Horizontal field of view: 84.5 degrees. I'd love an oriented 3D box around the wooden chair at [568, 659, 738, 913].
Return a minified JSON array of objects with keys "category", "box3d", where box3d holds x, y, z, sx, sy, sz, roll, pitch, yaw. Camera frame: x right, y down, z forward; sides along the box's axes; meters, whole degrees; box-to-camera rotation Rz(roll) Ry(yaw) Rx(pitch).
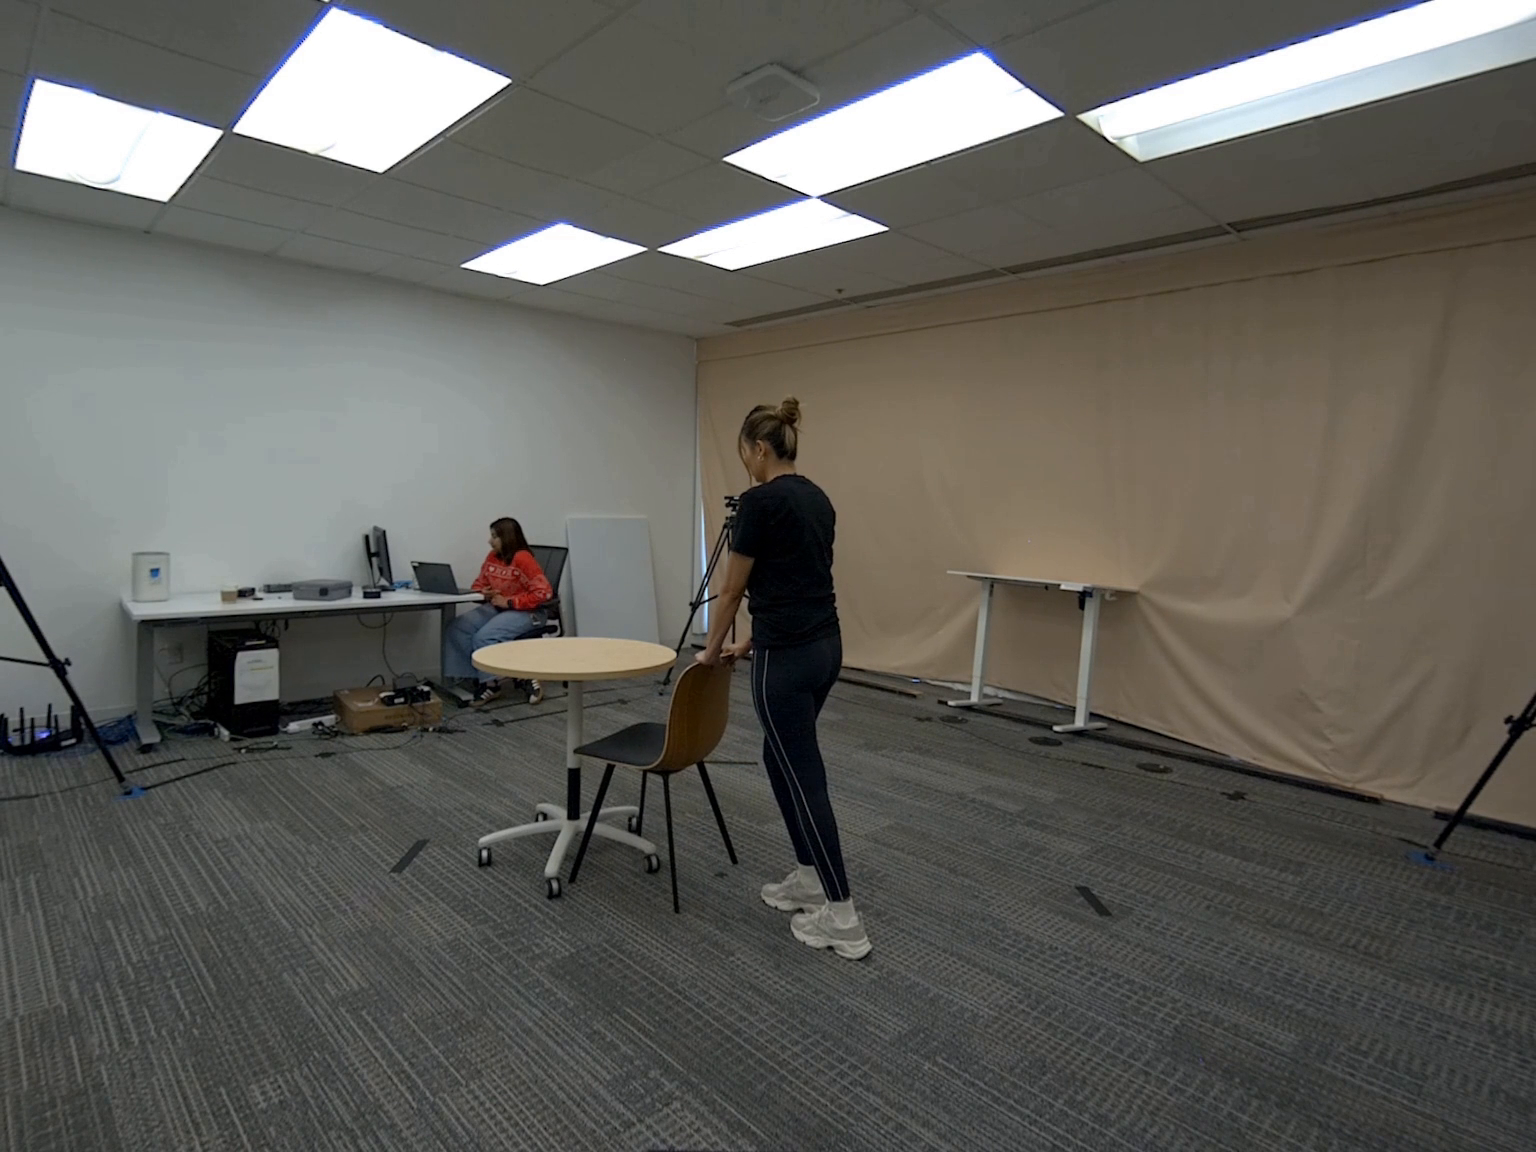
[{"category":"wooden chair","box3d":[-0.411,0.672,3.074,0.534,0.874,0.470,8,6,26]}]
